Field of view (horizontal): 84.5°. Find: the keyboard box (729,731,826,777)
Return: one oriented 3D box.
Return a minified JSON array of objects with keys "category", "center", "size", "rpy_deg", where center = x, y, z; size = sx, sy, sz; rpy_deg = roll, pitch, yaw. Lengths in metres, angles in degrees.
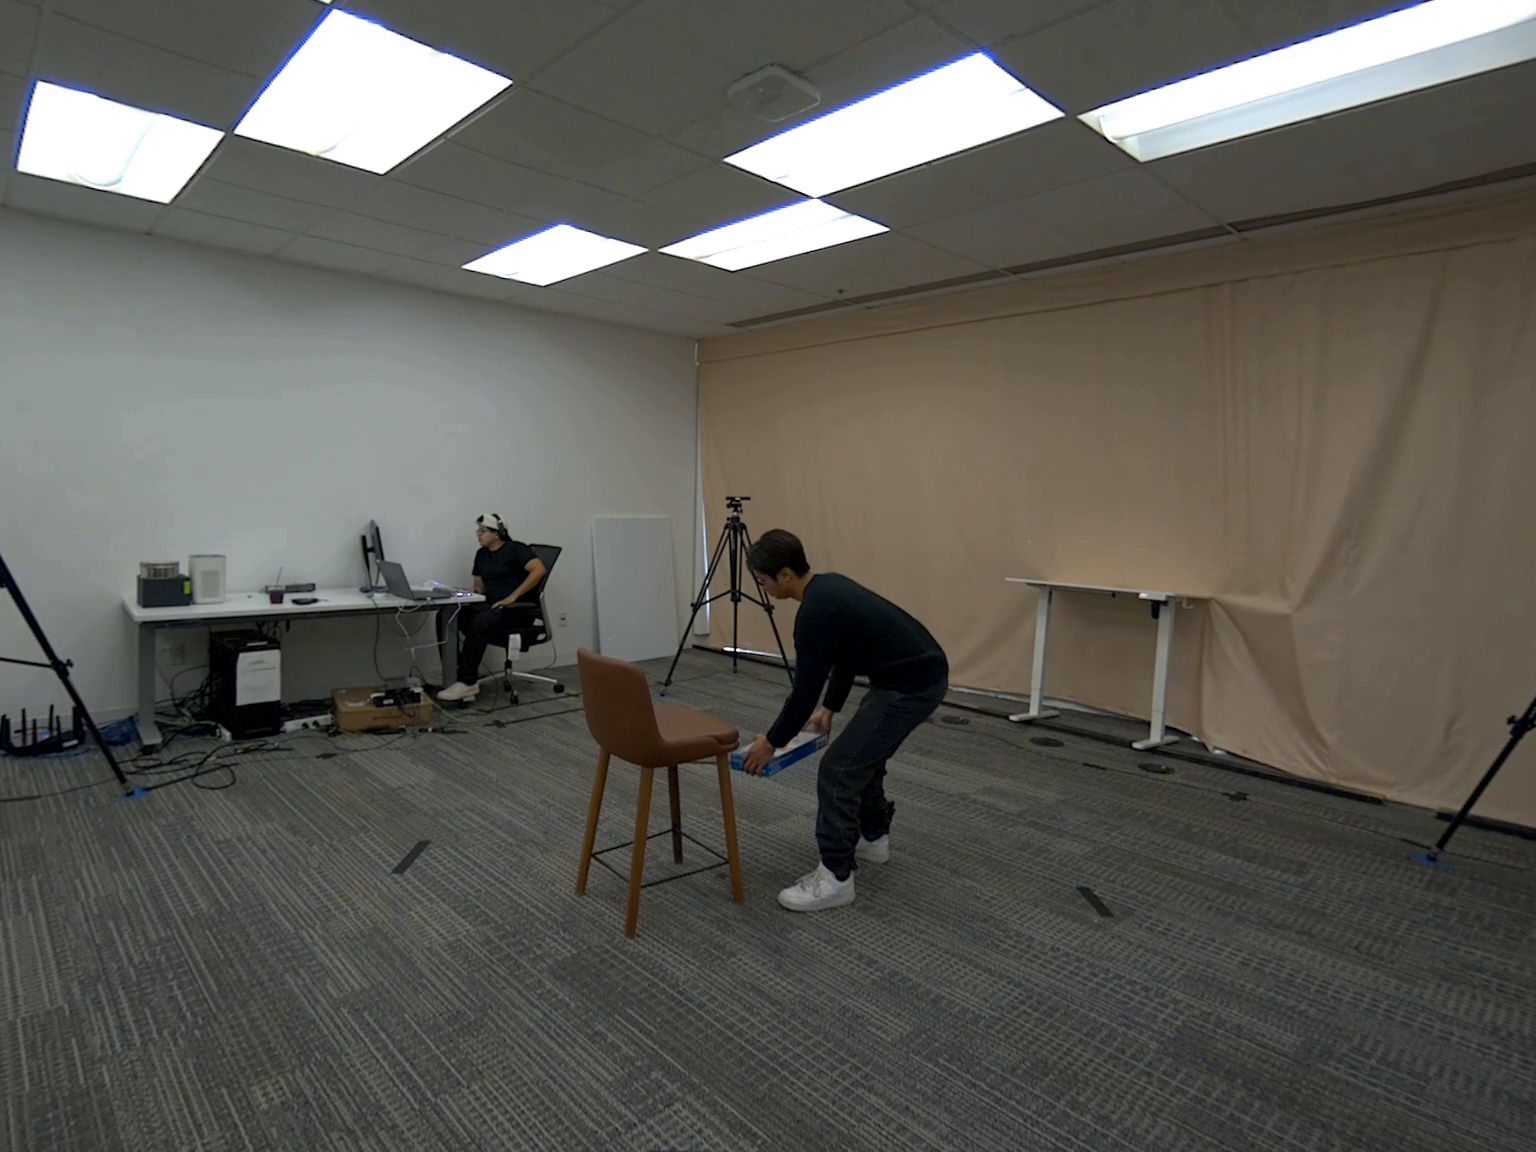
[{"category":"keyboard box","center":[0.054,0.678,3.265],"size":[0.180,0.059,0.429],"rpy_deg":[1,8,35]}]
